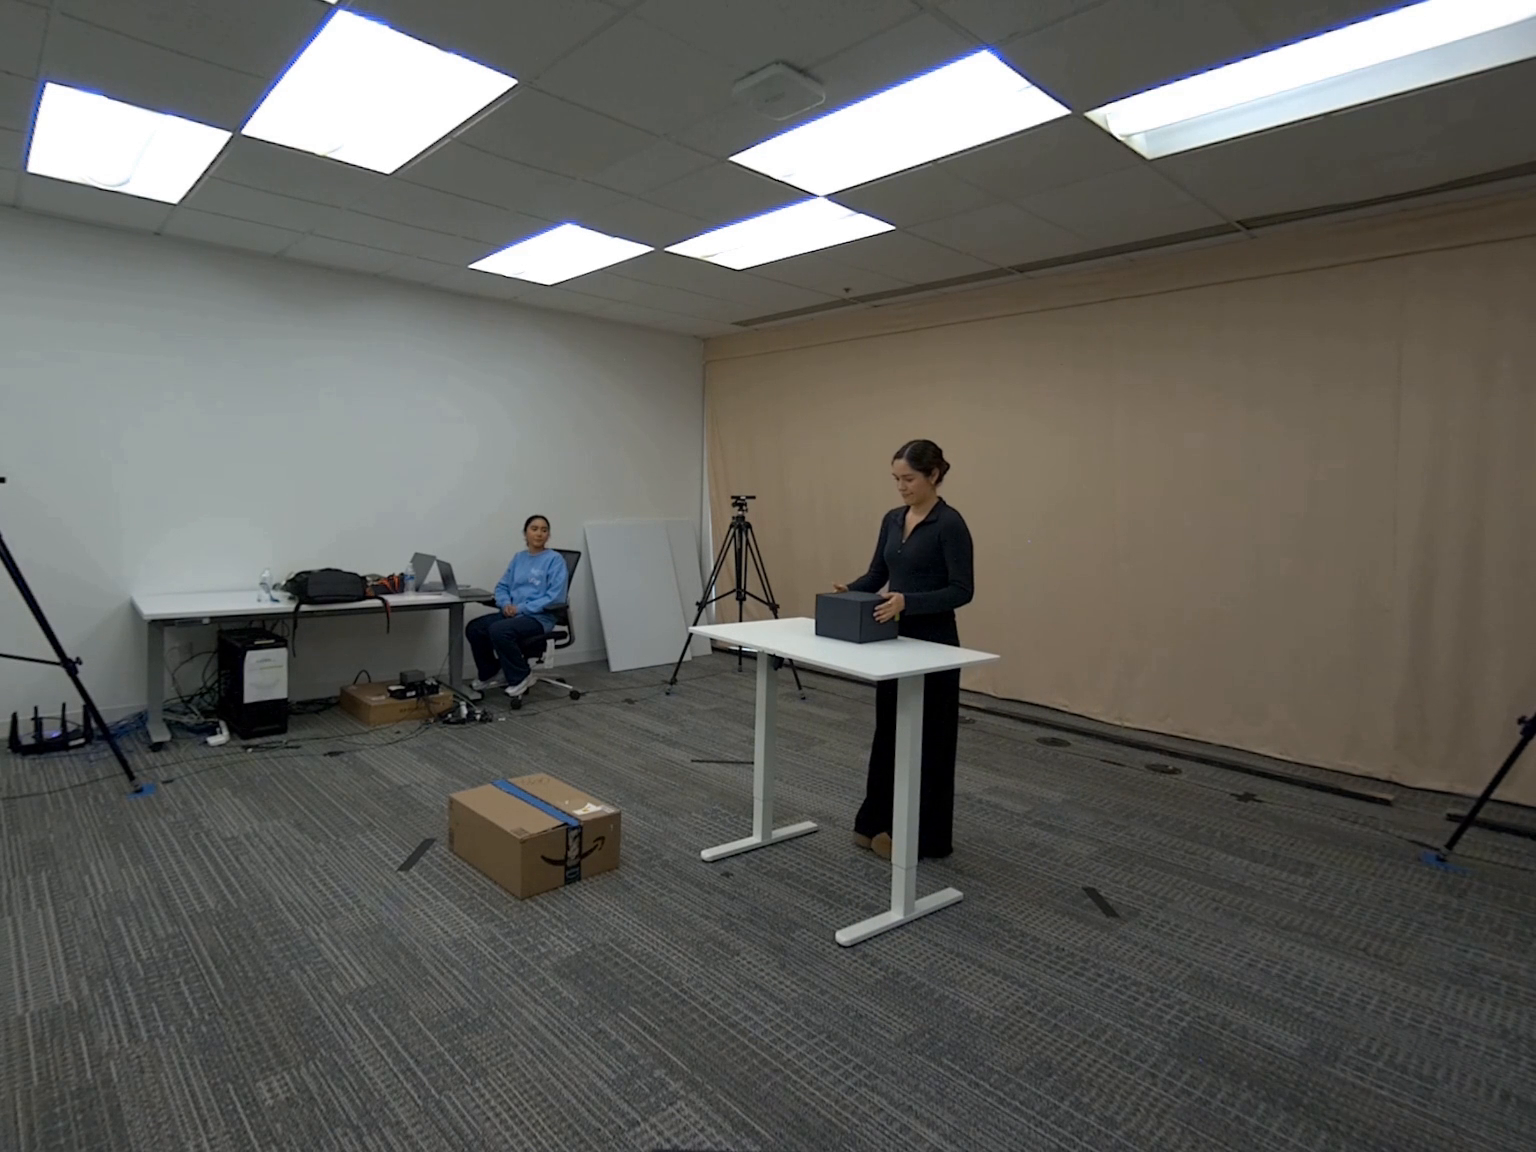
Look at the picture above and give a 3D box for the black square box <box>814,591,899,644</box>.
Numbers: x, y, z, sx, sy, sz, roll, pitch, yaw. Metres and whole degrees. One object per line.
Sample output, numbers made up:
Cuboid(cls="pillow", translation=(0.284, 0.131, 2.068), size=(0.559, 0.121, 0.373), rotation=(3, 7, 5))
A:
Cuboid(cls="black square box", translation=(0.325, 0.151, 3.132), size=(0.212, 0.155, 0.234), rotation=(-3, 7, -41))
